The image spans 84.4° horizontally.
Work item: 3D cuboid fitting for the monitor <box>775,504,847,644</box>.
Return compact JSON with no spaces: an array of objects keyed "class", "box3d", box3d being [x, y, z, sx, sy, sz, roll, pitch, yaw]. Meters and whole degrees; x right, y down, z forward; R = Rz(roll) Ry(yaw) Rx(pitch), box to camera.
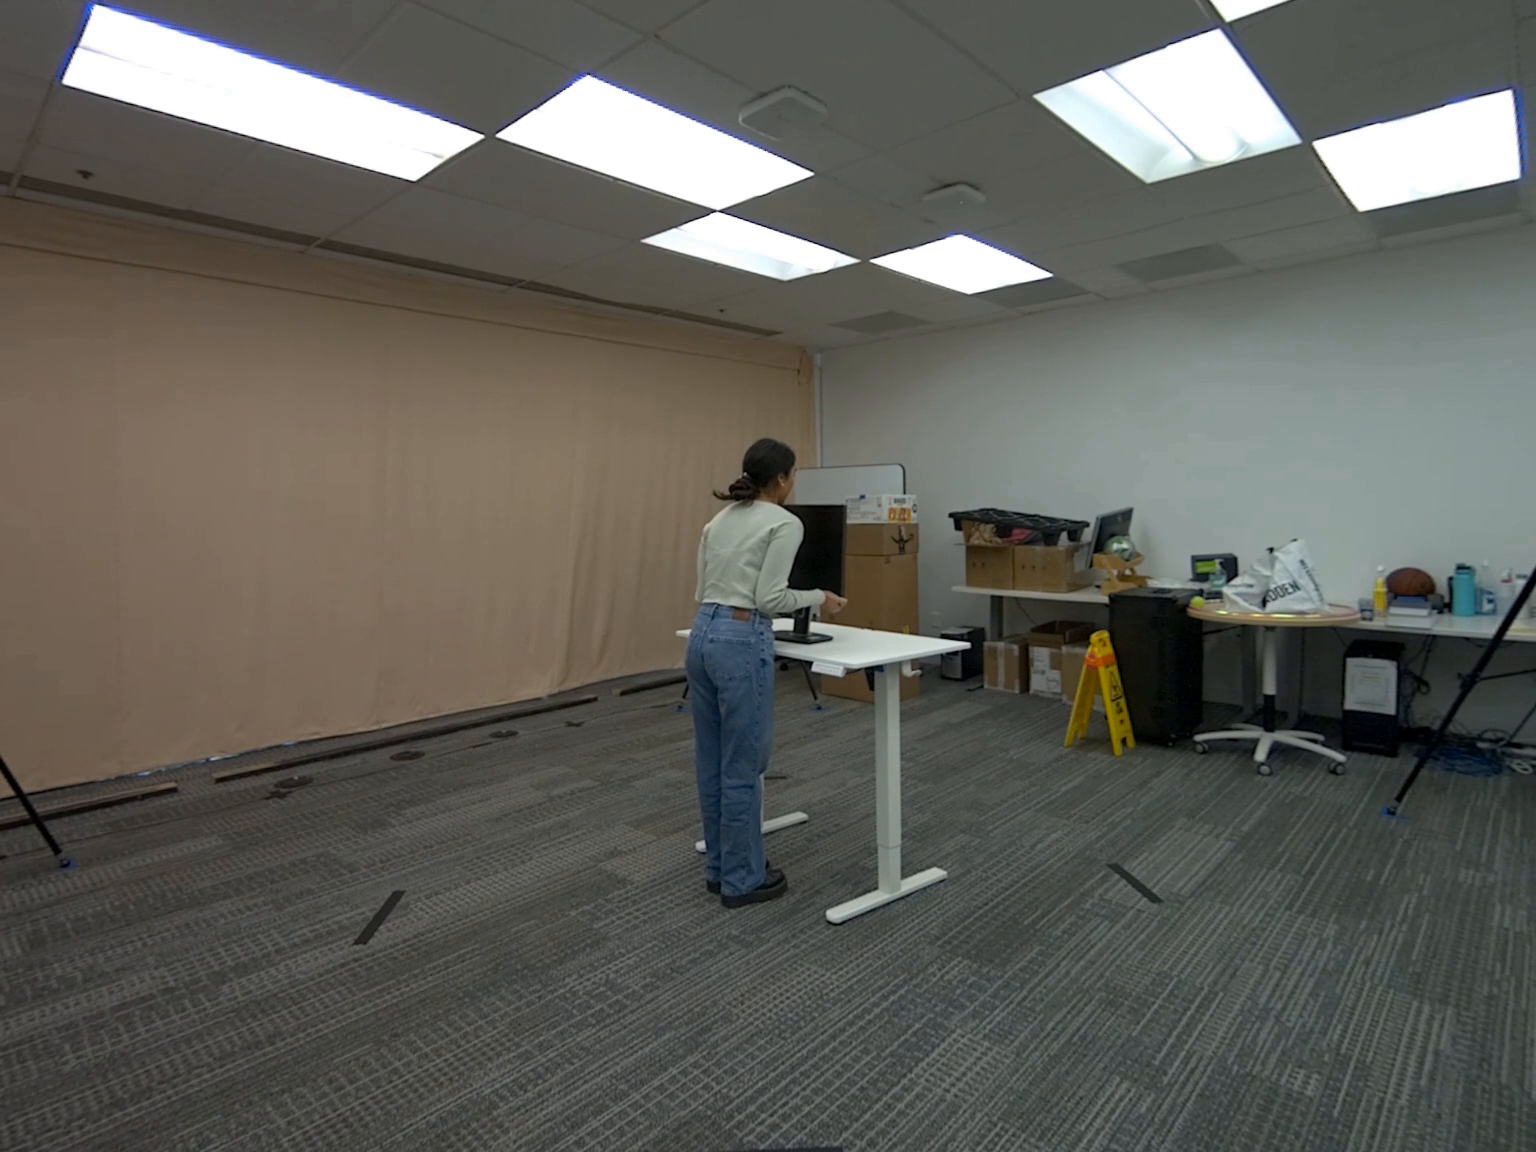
[{"class":"monitor","box3d":[0.103,-0.008,3.174,0.182,0.520,0.557,-9,8,-42]}]
